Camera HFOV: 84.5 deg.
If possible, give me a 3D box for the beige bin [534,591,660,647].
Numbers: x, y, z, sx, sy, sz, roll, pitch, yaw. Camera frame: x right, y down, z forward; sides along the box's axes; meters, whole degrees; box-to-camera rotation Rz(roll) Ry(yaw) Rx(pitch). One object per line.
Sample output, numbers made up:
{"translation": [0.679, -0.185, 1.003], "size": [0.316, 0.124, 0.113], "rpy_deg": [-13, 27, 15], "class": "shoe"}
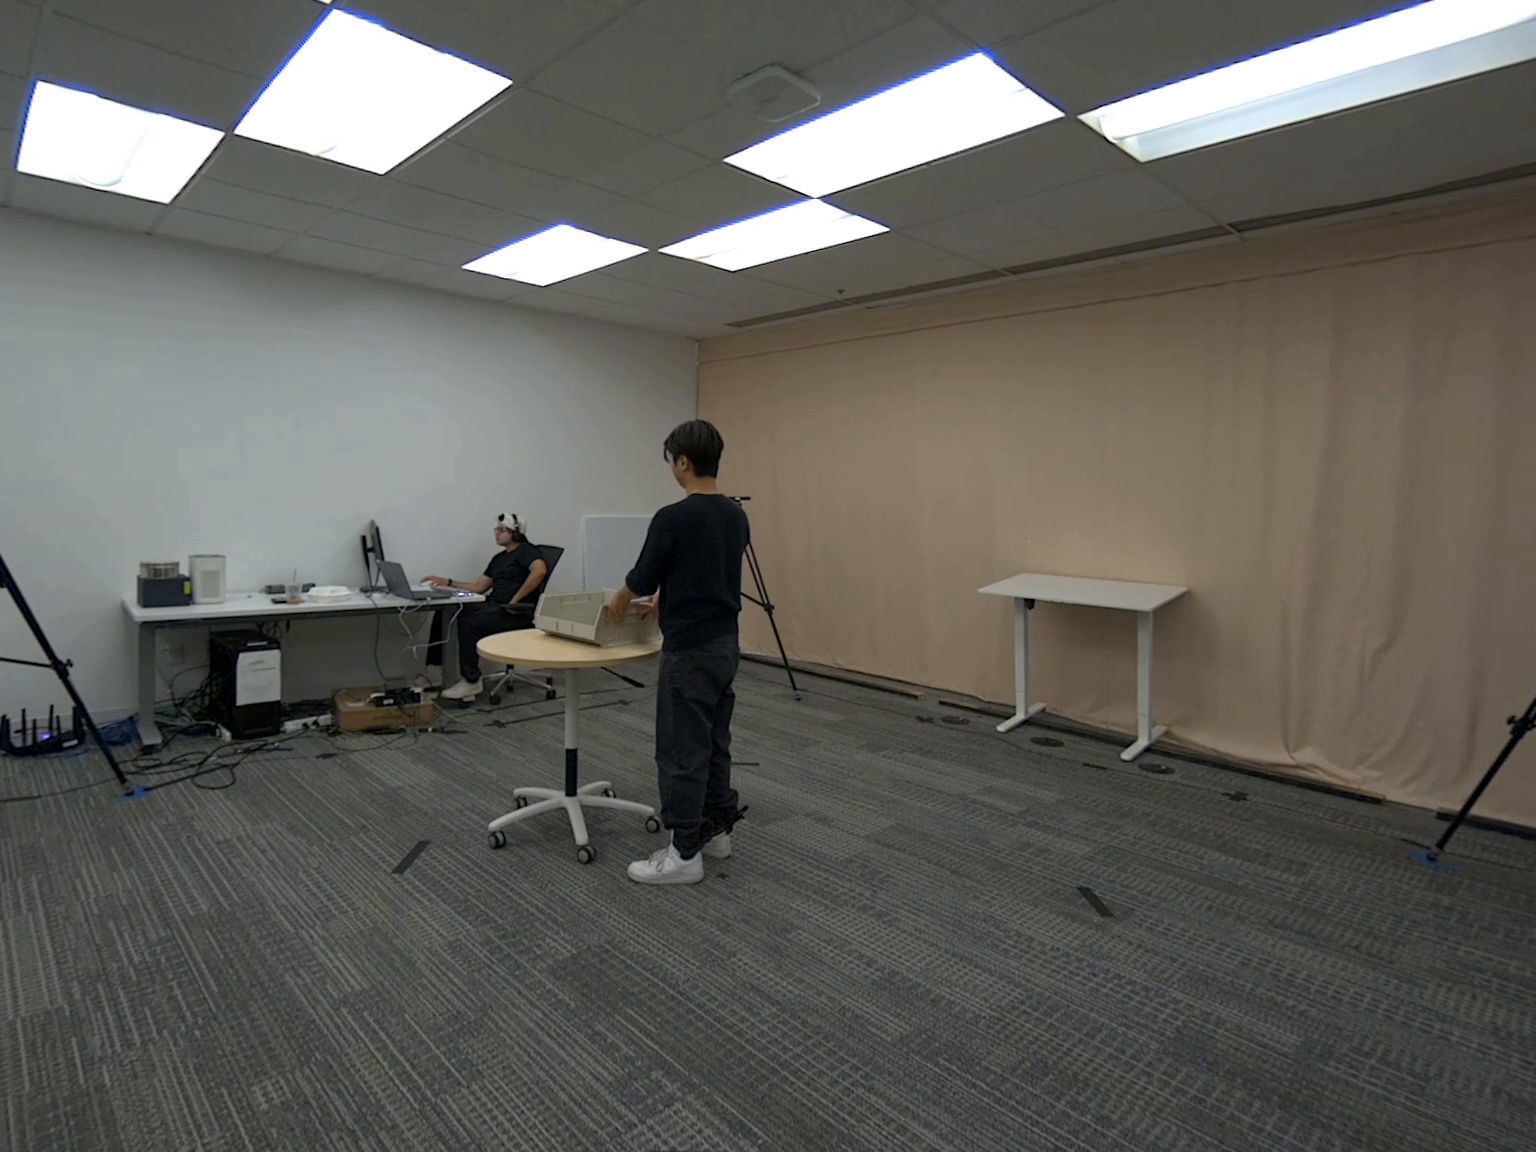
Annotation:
{"translation": [-0.725, 0.176, 3.612], "size": [0.433, 0.188, 0.369], "rpy_deg": [5, 6, 41], "class": "beige bin"}
